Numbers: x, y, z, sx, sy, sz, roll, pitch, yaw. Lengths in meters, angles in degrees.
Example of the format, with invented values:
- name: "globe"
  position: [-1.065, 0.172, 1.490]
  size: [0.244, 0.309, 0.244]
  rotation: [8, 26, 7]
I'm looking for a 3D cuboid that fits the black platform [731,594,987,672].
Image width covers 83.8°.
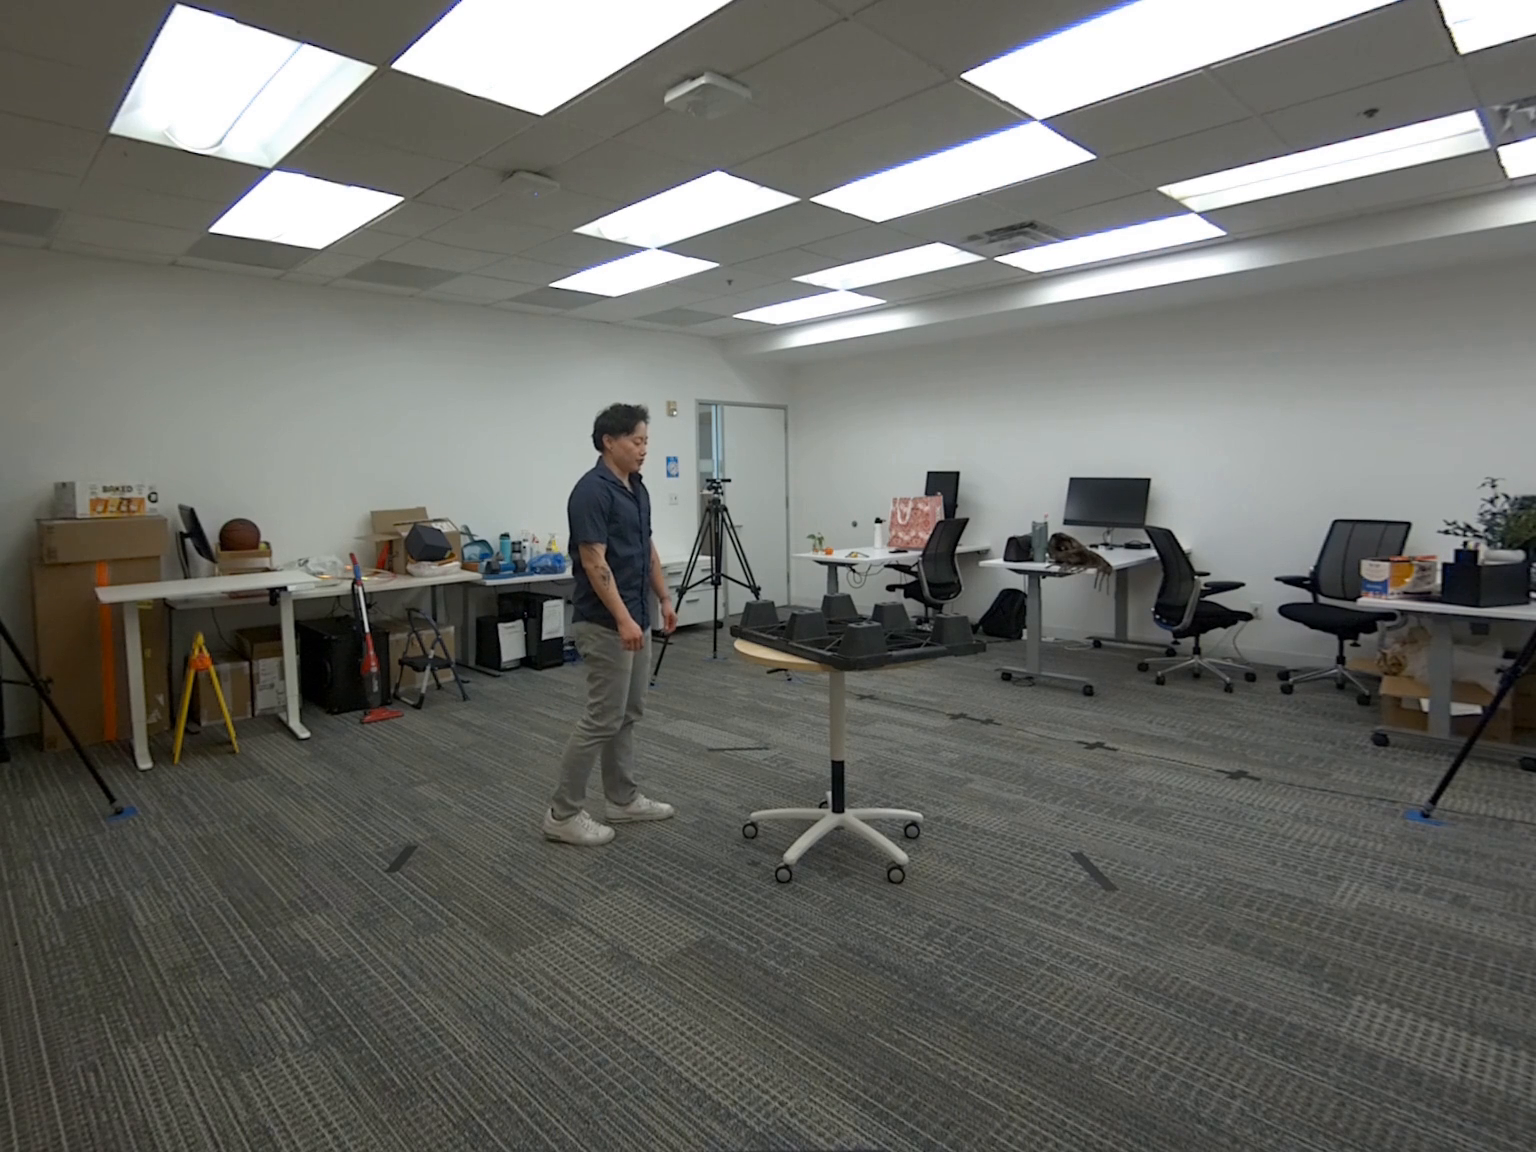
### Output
- name: "black platform"
  position: [0.307, 0.186, 3.152]
  size: [0.591, 0.143, 0.827]
  rotation: [-5, 7, -29]
